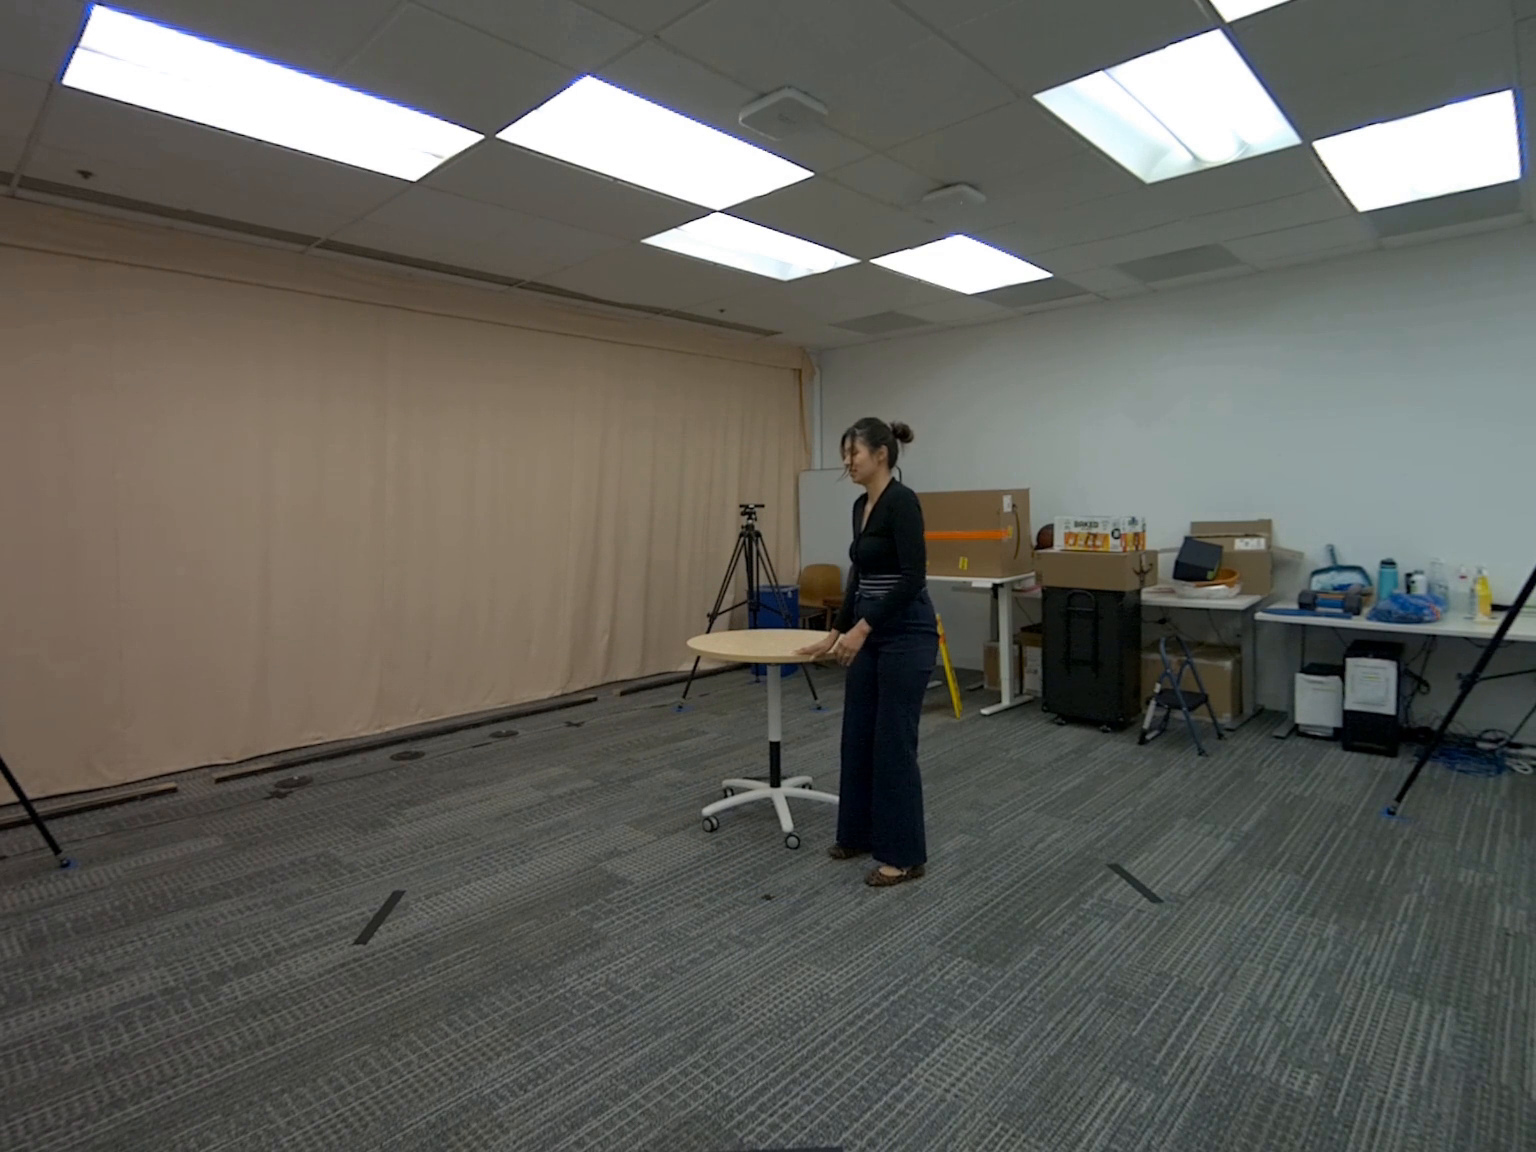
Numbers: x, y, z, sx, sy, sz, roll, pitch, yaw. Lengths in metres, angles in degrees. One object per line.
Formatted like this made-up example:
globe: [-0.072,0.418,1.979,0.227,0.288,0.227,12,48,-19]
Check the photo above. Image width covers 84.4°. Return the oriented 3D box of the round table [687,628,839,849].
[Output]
round table: [0.027,0.683,3.721,0.763,0.793,0.766,-1,3,-2]
